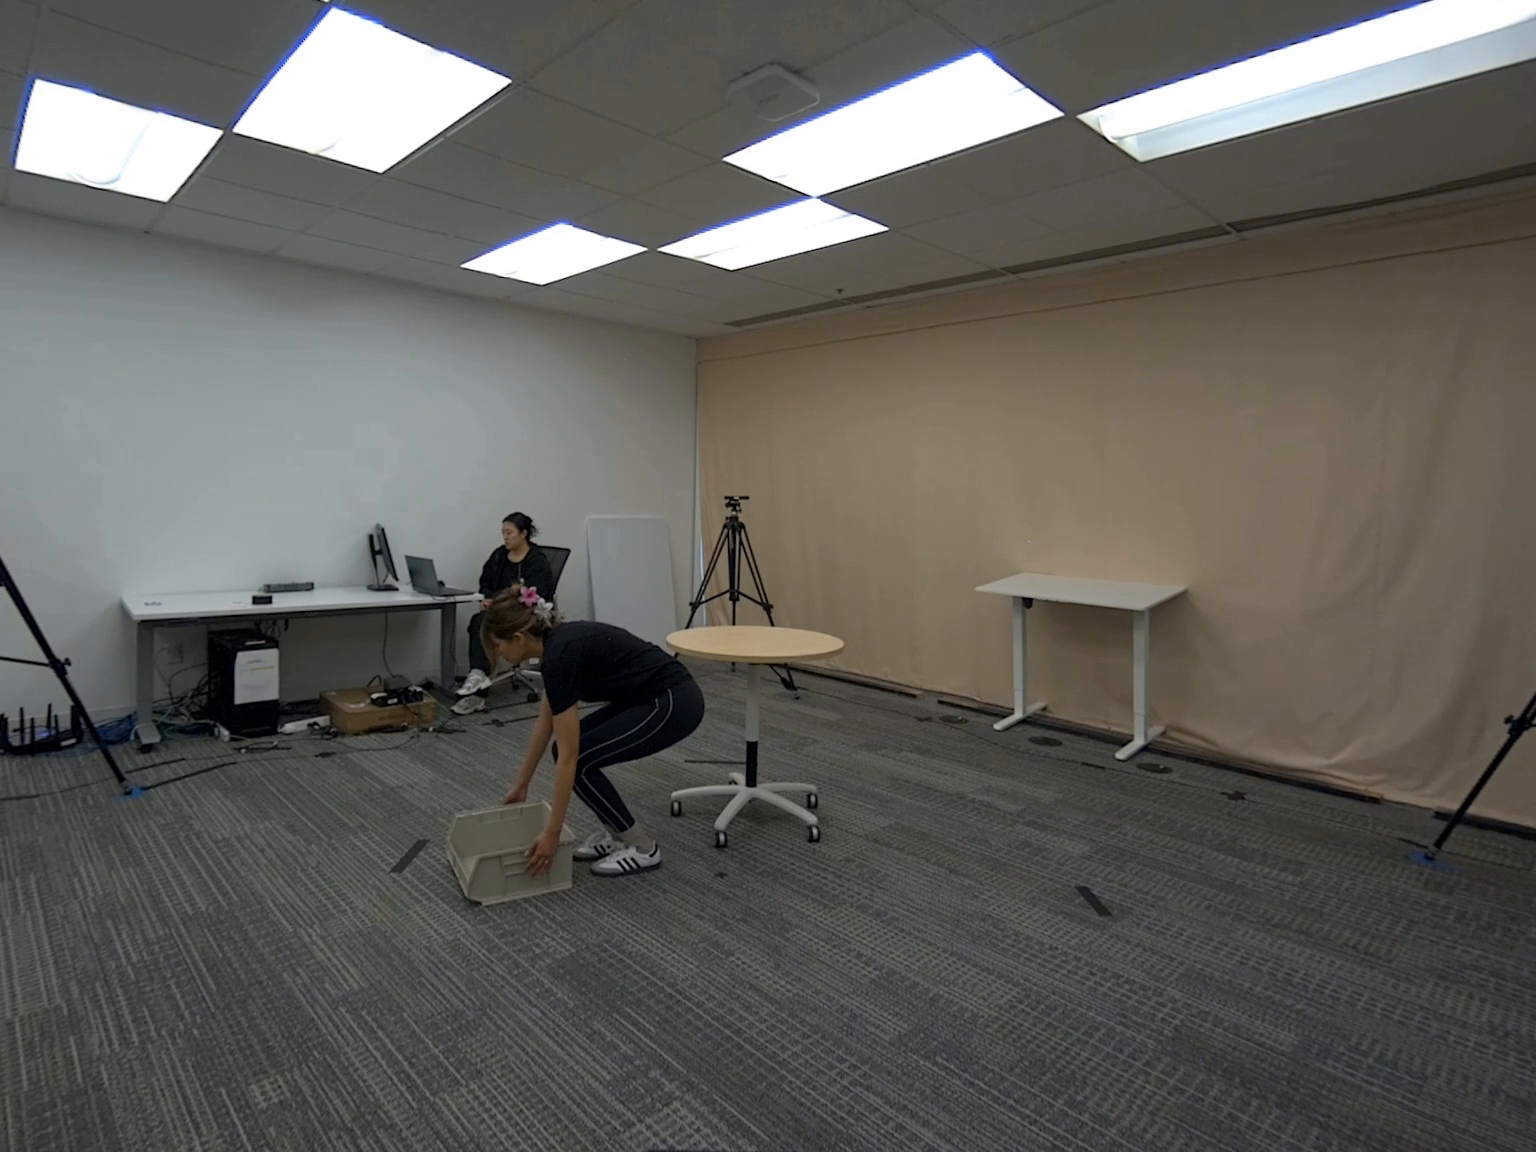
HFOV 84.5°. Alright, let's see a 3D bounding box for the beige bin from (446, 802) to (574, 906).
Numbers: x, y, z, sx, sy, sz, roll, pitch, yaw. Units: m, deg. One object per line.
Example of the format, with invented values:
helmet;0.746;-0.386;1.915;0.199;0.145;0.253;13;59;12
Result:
beige bin;-0.949;1.000;3.062;0.370;0.188;0.432;-1;5;-30
